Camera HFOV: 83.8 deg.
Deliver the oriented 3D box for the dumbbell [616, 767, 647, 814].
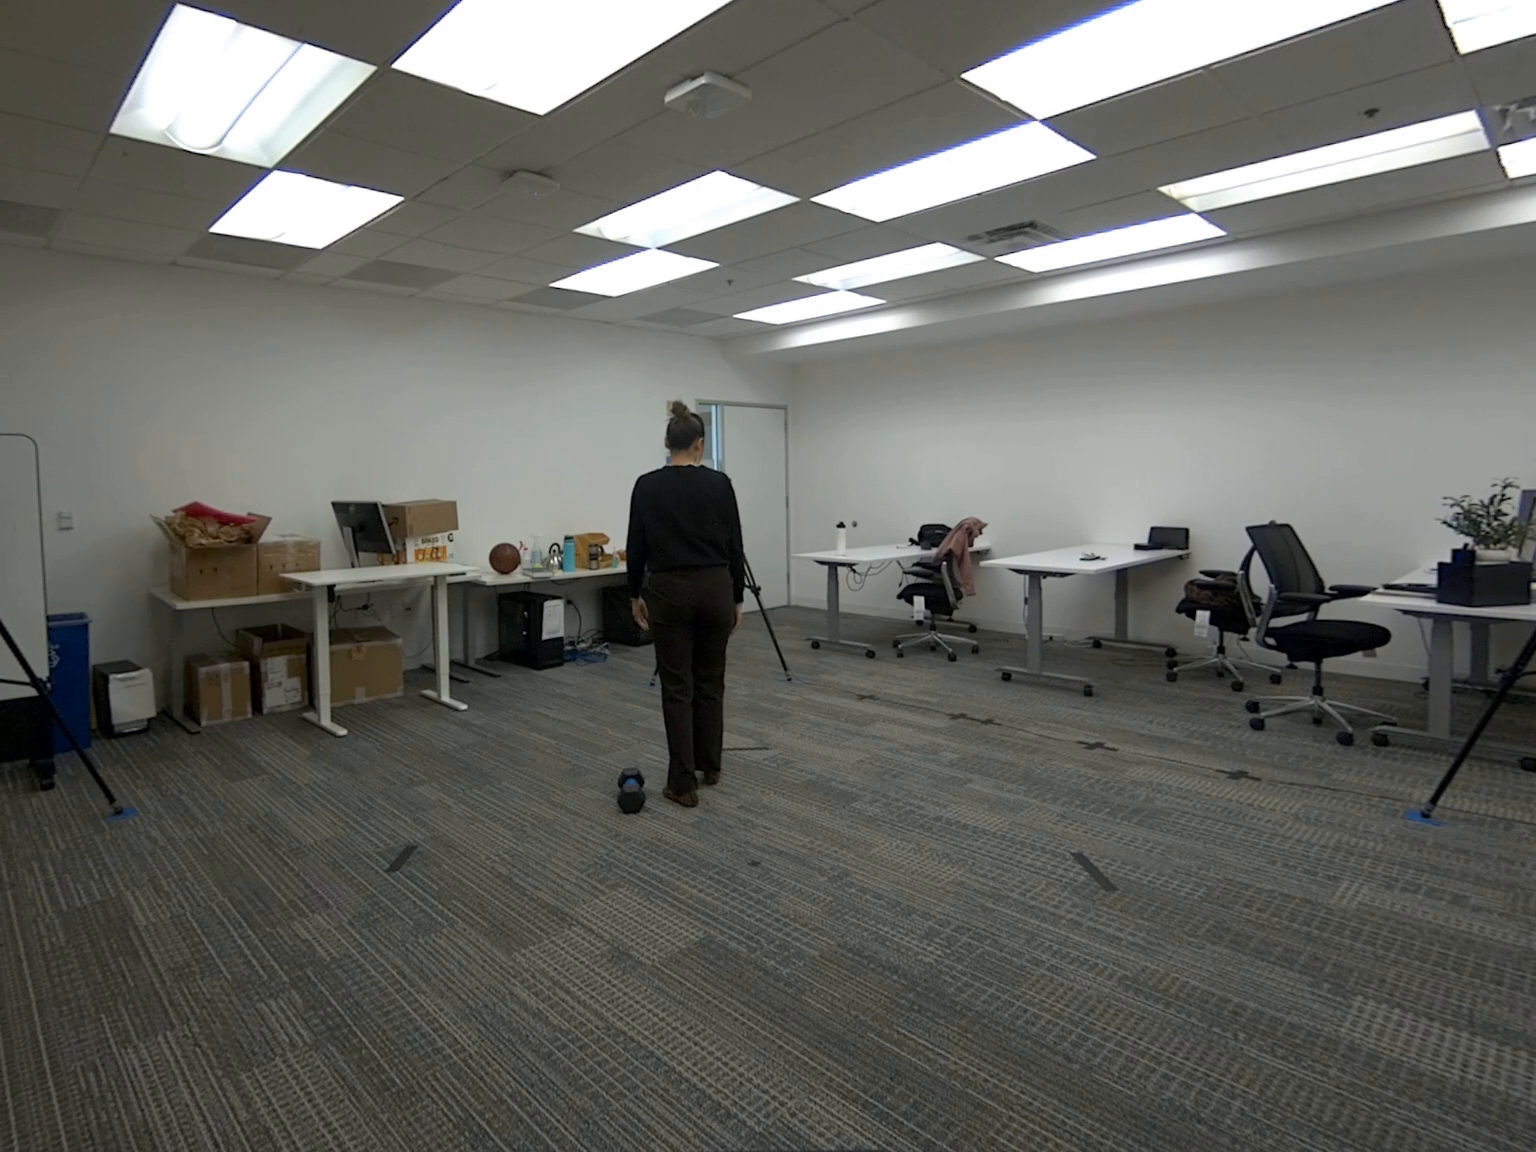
[{"bbox_3d":[-0.597,0.933,3.729,0.108,0.122,0.297,-29,9,-5],"label":"dumbbell"}]
